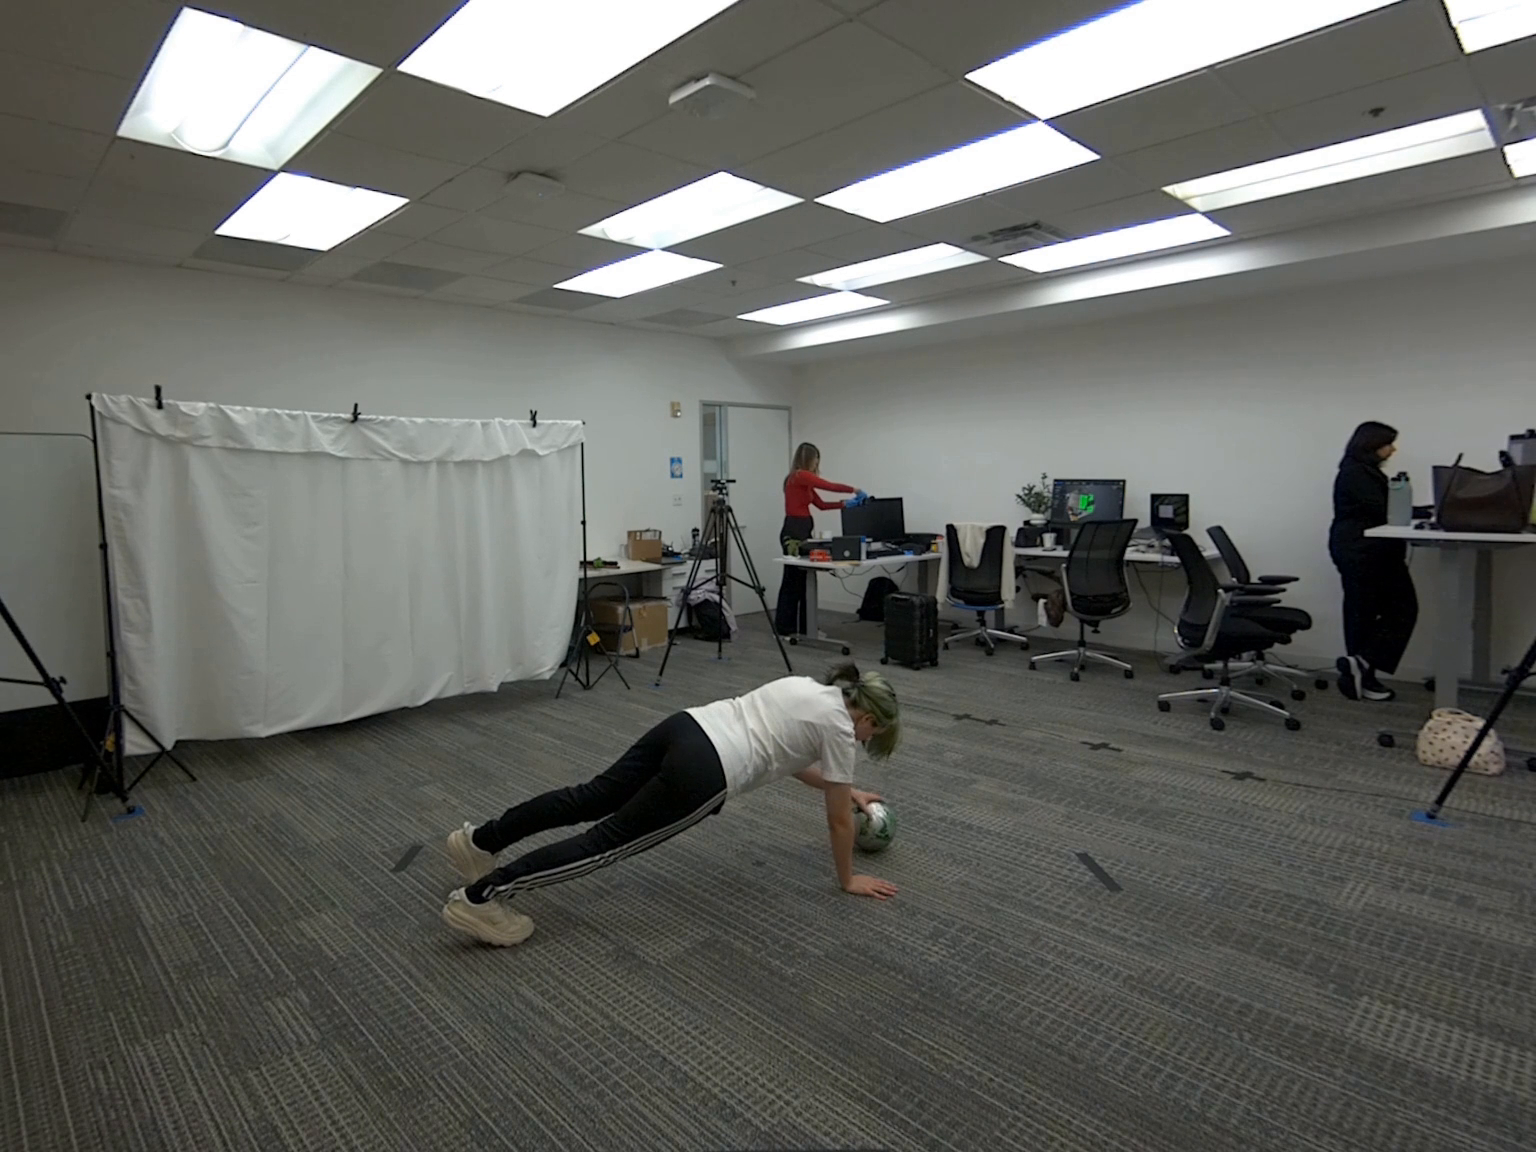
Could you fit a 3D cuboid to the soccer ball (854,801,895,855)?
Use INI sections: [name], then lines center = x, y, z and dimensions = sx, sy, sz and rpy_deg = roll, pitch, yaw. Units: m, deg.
[soccer ball]
center = 0.380, 0.933, 3.213
dimensions = 0.187, 0.187, 0.188
rpy_deg = -1, 5, -2
